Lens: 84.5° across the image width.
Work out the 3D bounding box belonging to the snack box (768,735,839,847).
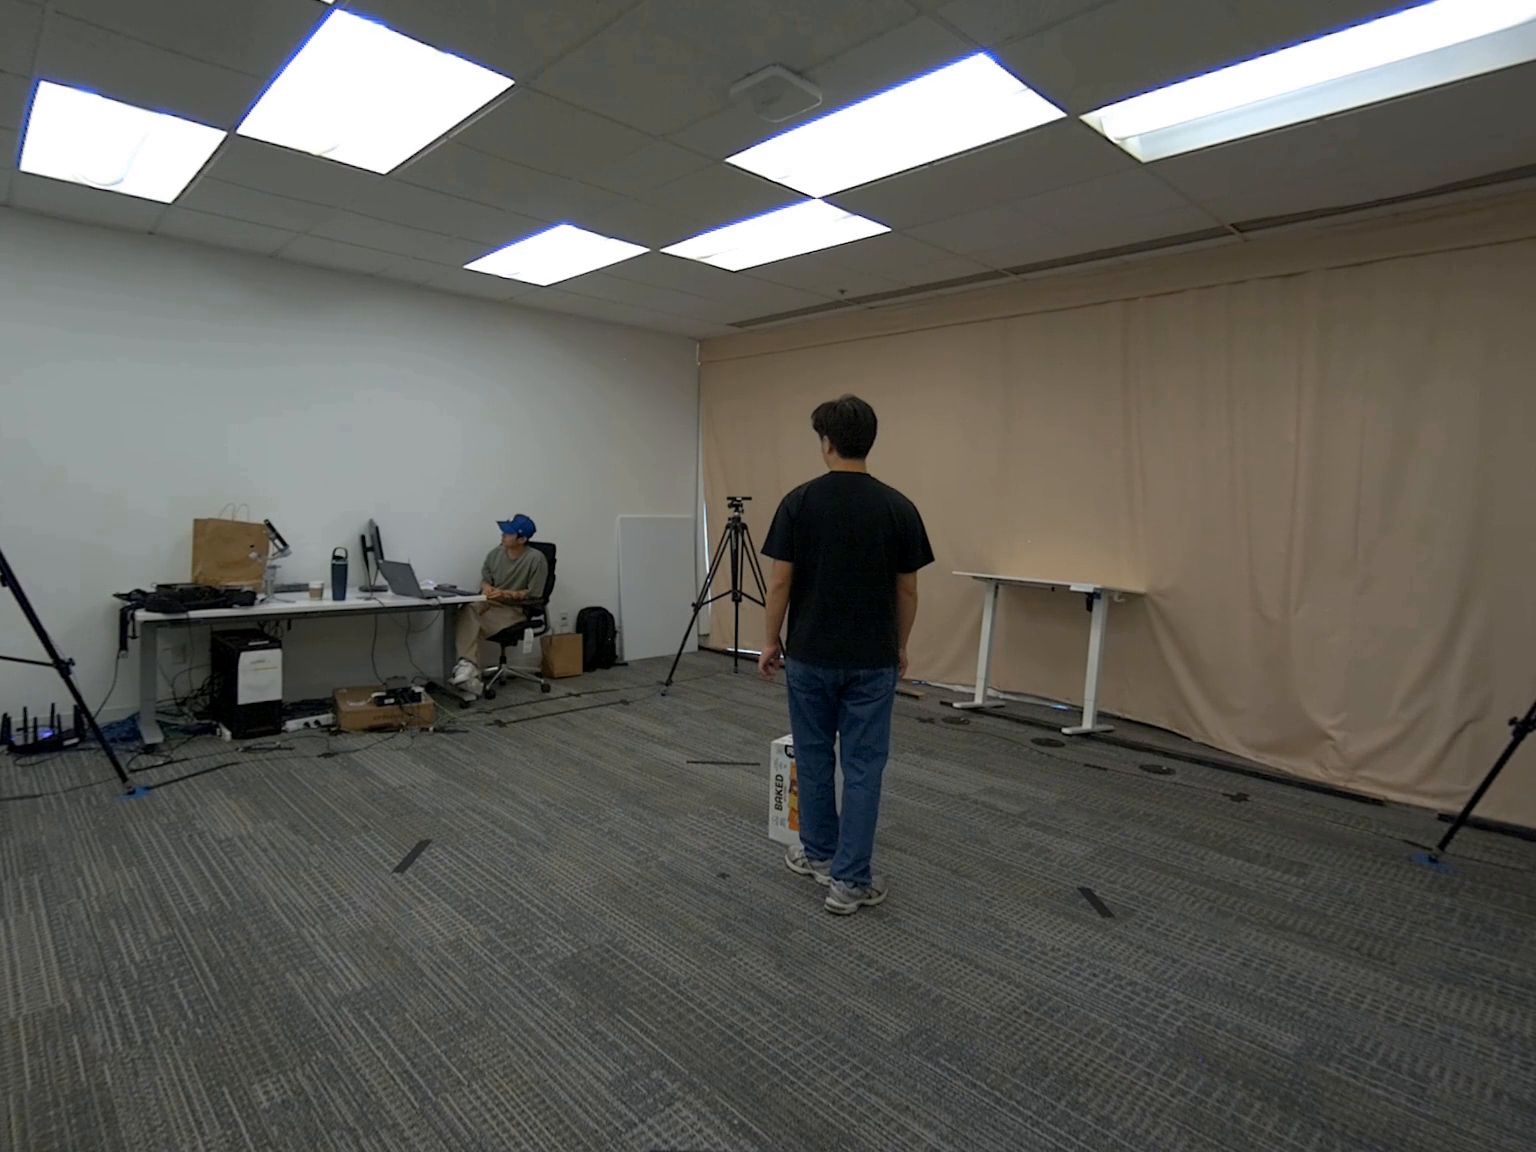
[{"bbox_3d":[0.181,0.878,3.529,0.210,0.404,0.333,3,3,34],"label":"snack box"}]
